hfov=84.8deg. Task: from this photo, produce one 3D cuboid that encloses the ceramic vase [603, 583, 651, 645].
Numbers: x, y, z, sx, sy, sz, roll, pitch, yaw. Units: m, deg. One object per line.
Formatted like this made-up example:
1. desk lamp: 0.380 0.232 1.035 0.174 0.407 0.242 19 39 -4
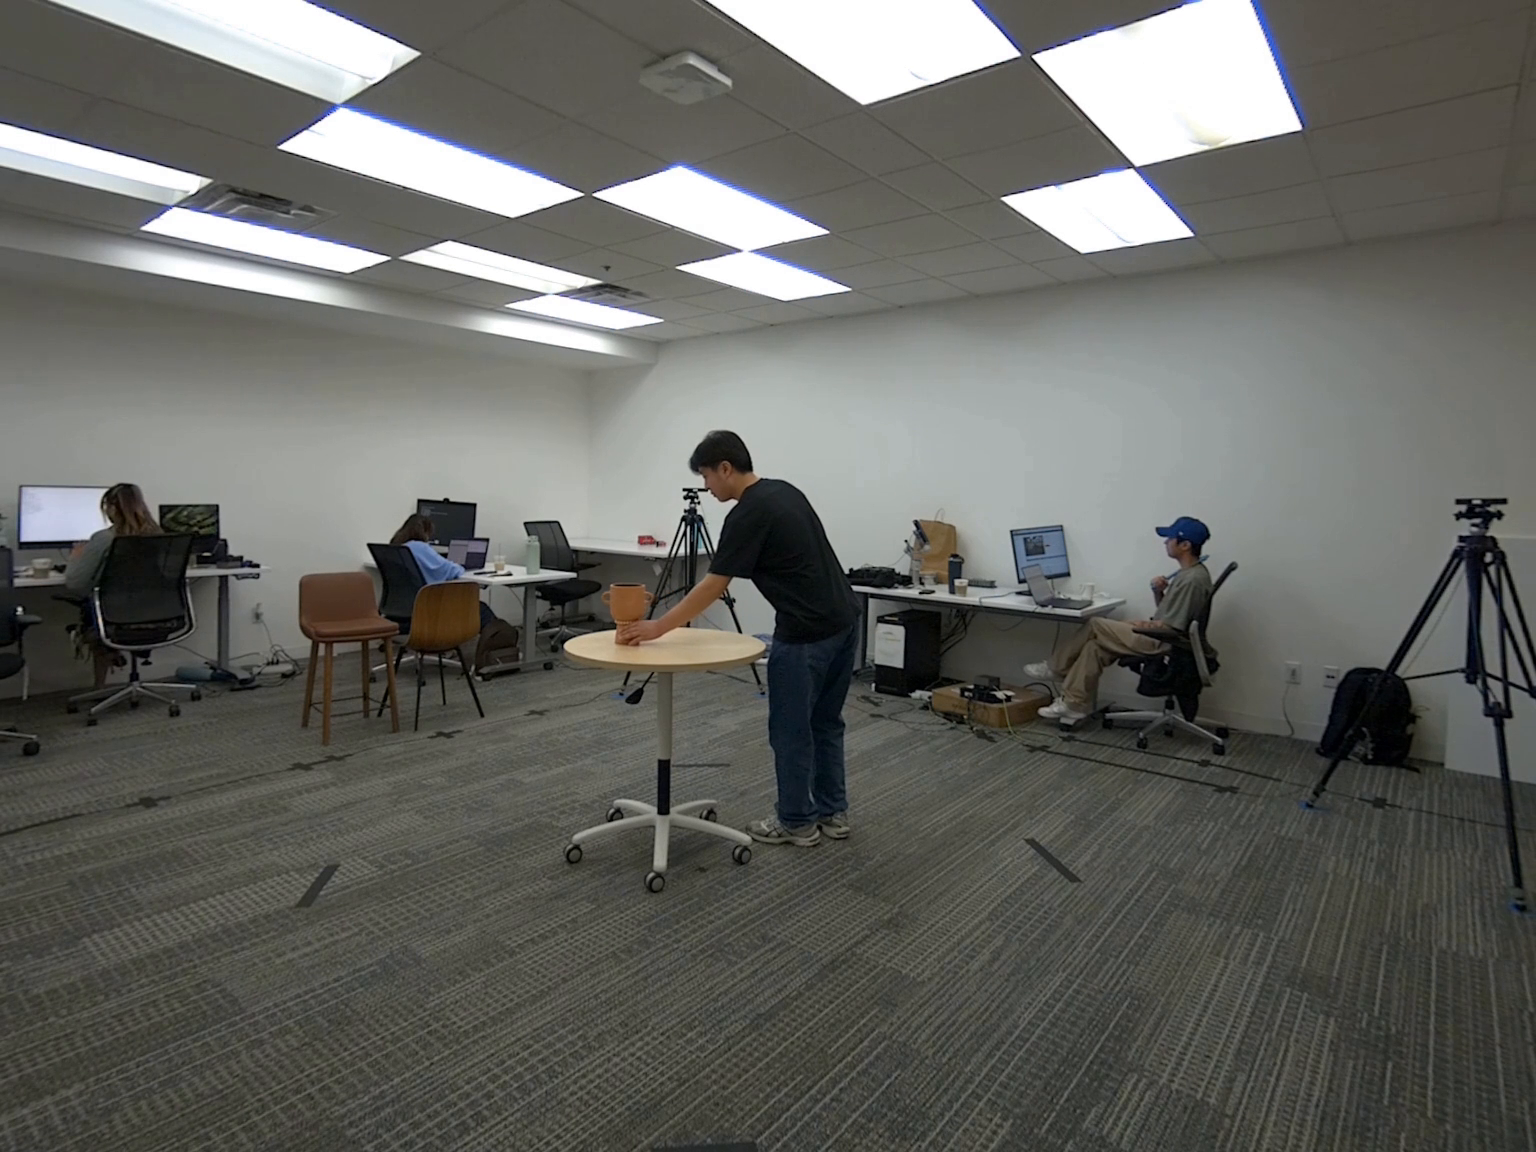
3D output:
1. ceramic vase: -0.553 0.142 3.269 0.164 0.219 0.131 4 7 37
